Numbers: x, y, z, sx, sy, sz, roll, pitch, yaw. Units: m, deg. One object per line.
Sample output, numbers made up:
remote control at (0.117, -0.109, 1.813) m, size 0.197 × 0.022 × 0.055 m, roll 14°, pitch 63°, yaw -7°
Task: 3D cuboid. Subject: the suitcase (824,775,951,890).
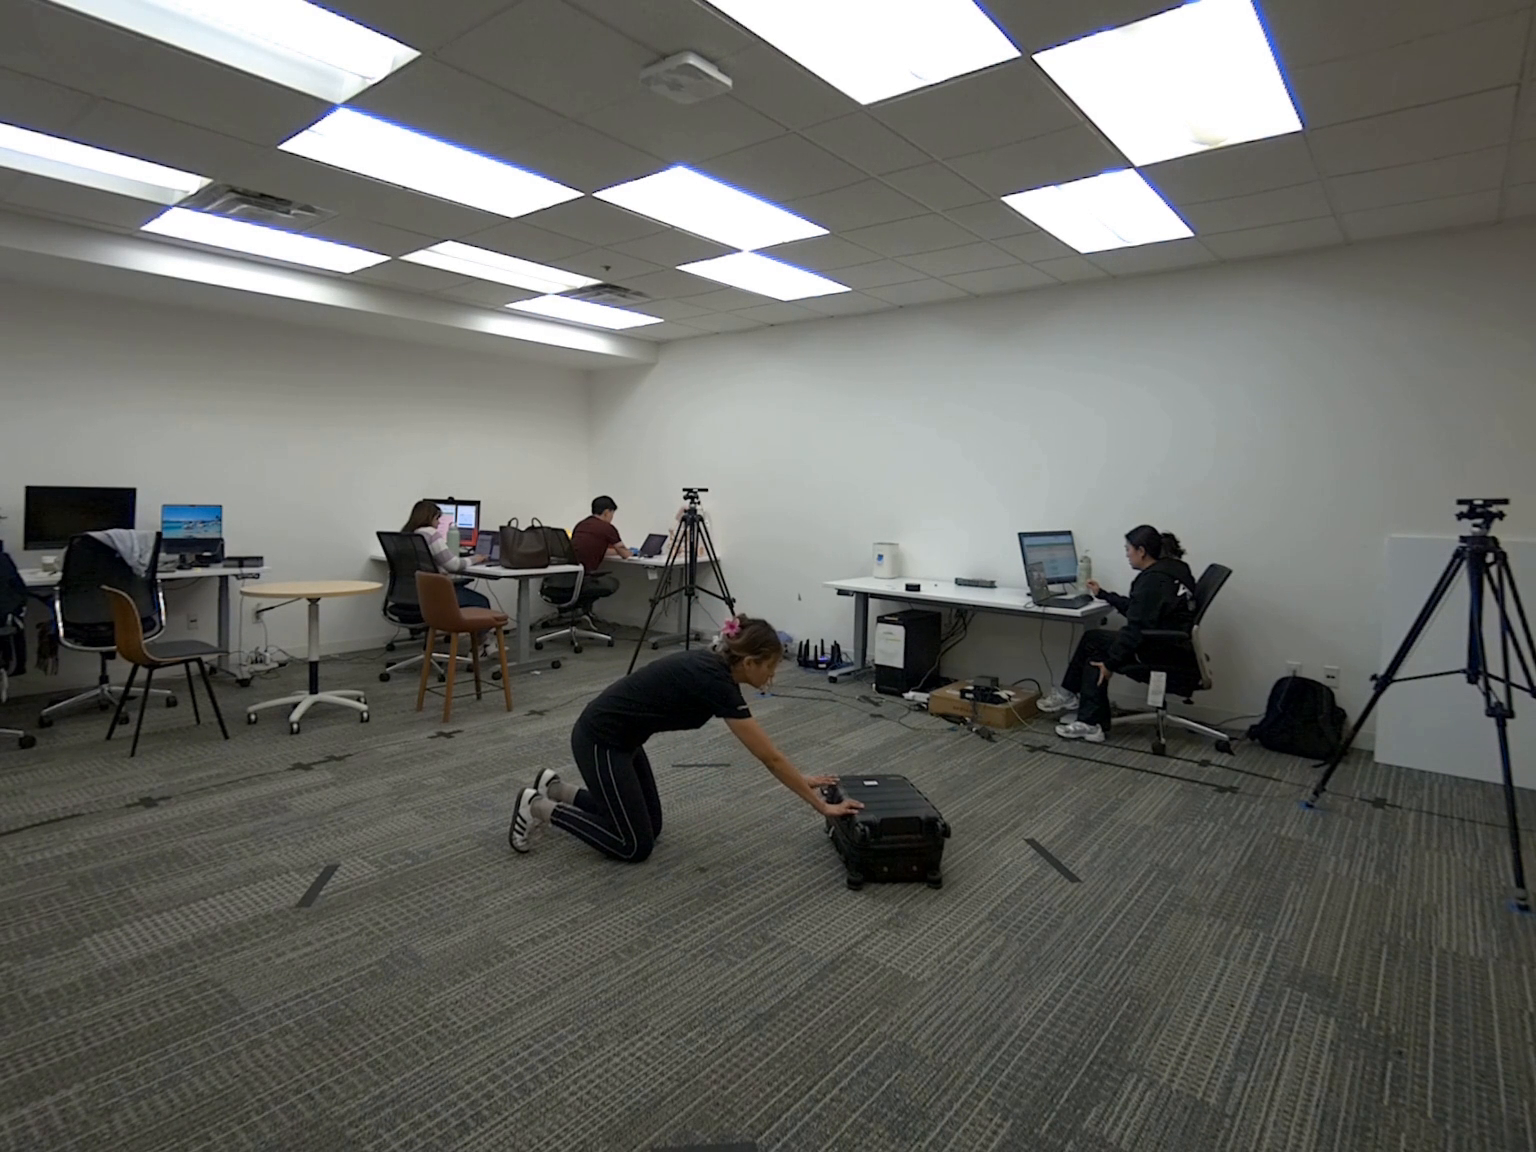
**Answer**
suitcase at (0.400, 0.929, 3.454) m, size 0.381 × 0.255 × 0.992 m, roll -2°, pitch 8°, yaw -8°
